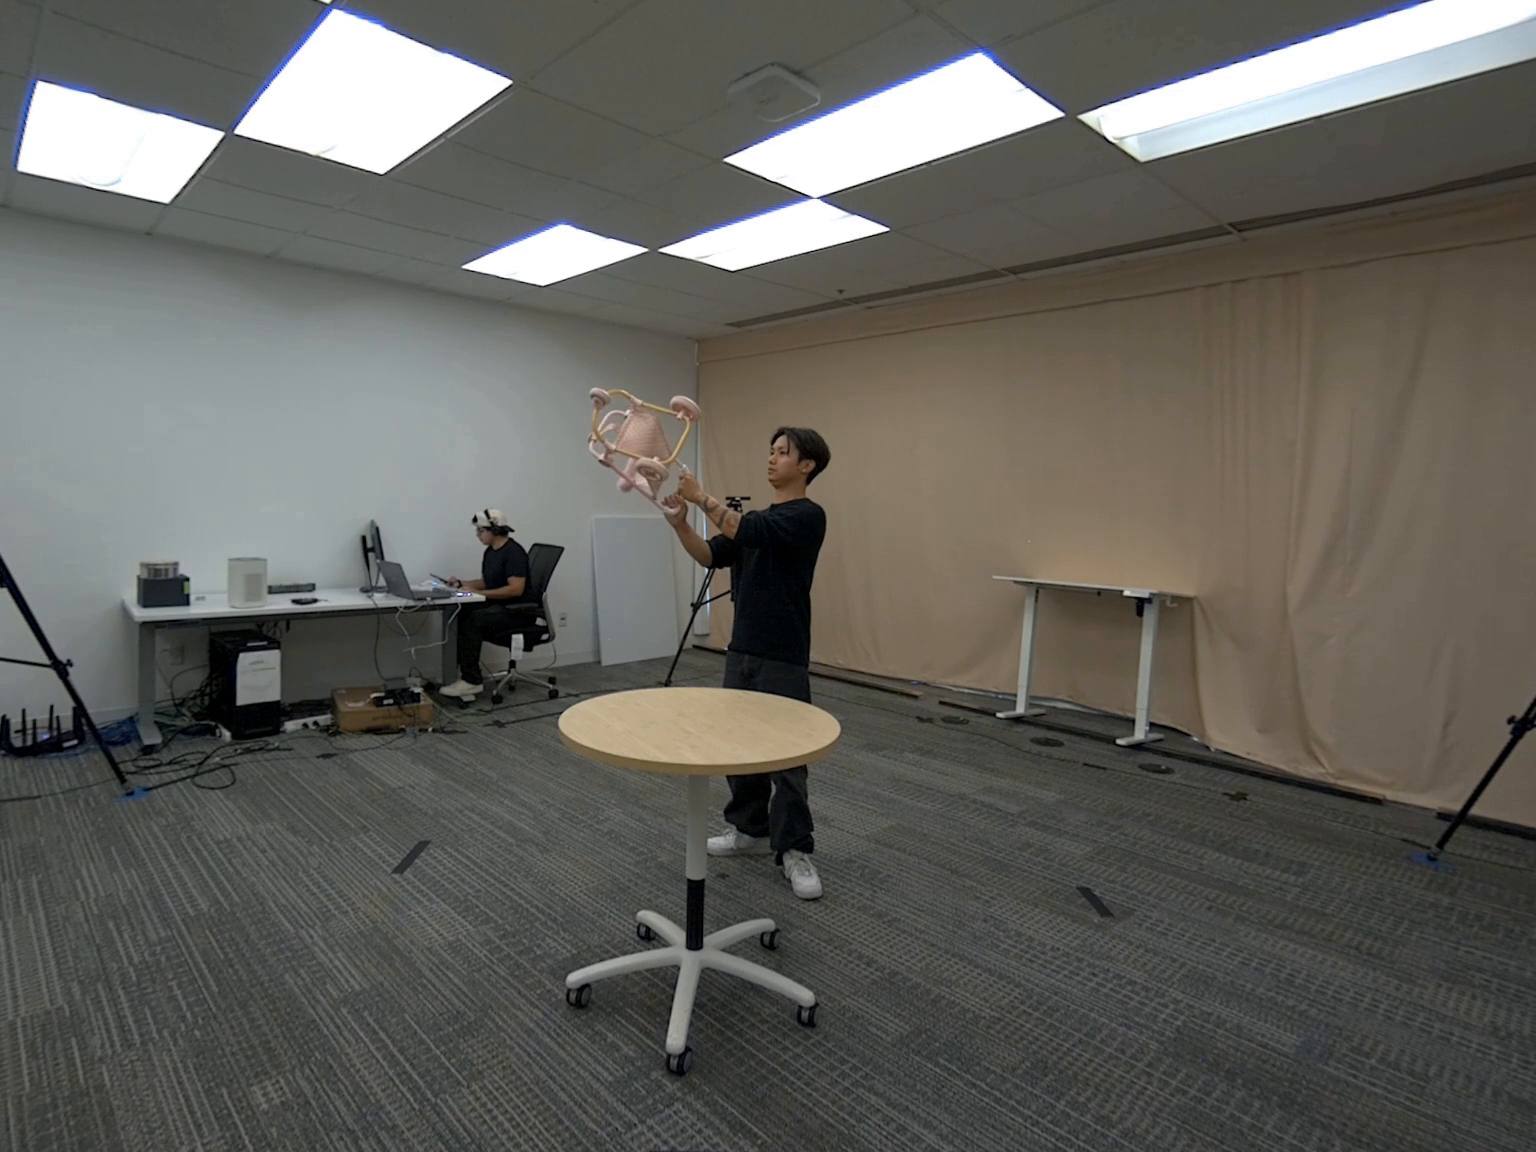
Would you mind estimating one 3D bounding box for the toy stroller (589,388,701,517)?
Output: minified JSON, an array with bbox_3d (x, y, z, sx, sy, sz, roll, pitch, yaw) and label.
[{"bbox_3d":[-0.441,-0.422,2.820,0.341,0.284,0.530,19,-21,0],"label":"toy stroller"}]
